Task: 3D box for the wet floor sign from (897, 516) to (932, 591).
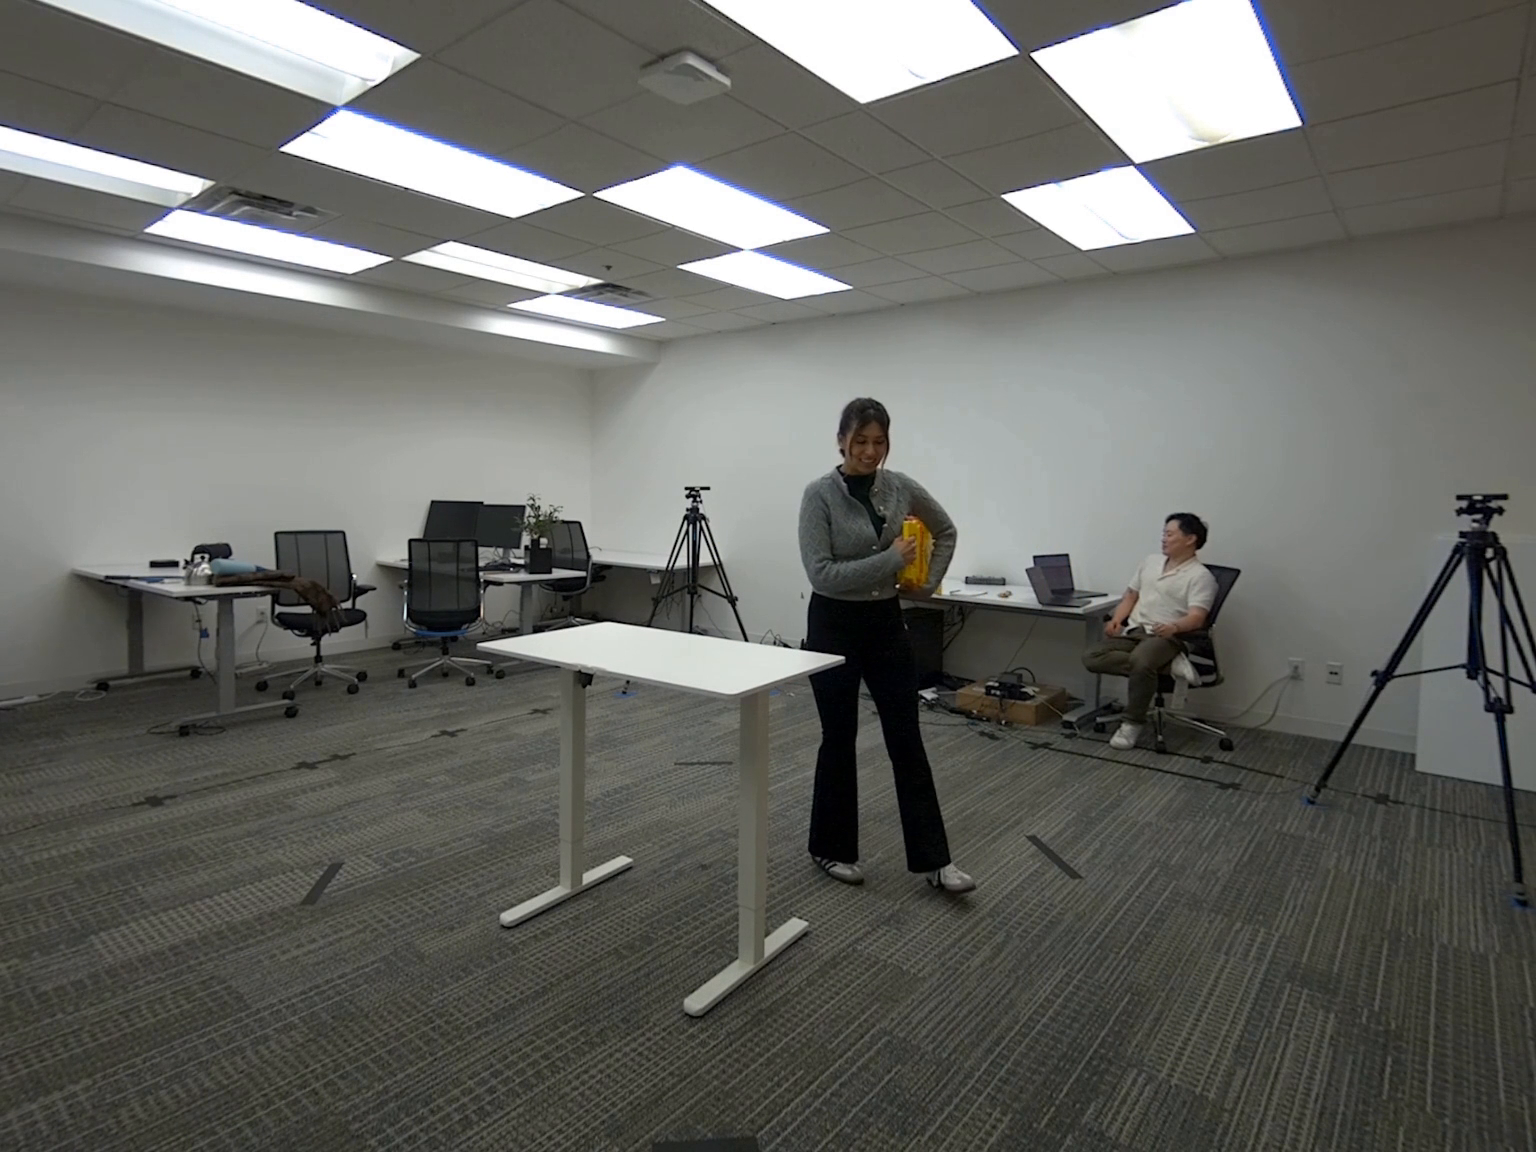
[{"bbox_3d":[0.527,-0.076,3.199,0.293,0.283,0.636,1,-4,8],"label":"wet floor sign"}]
